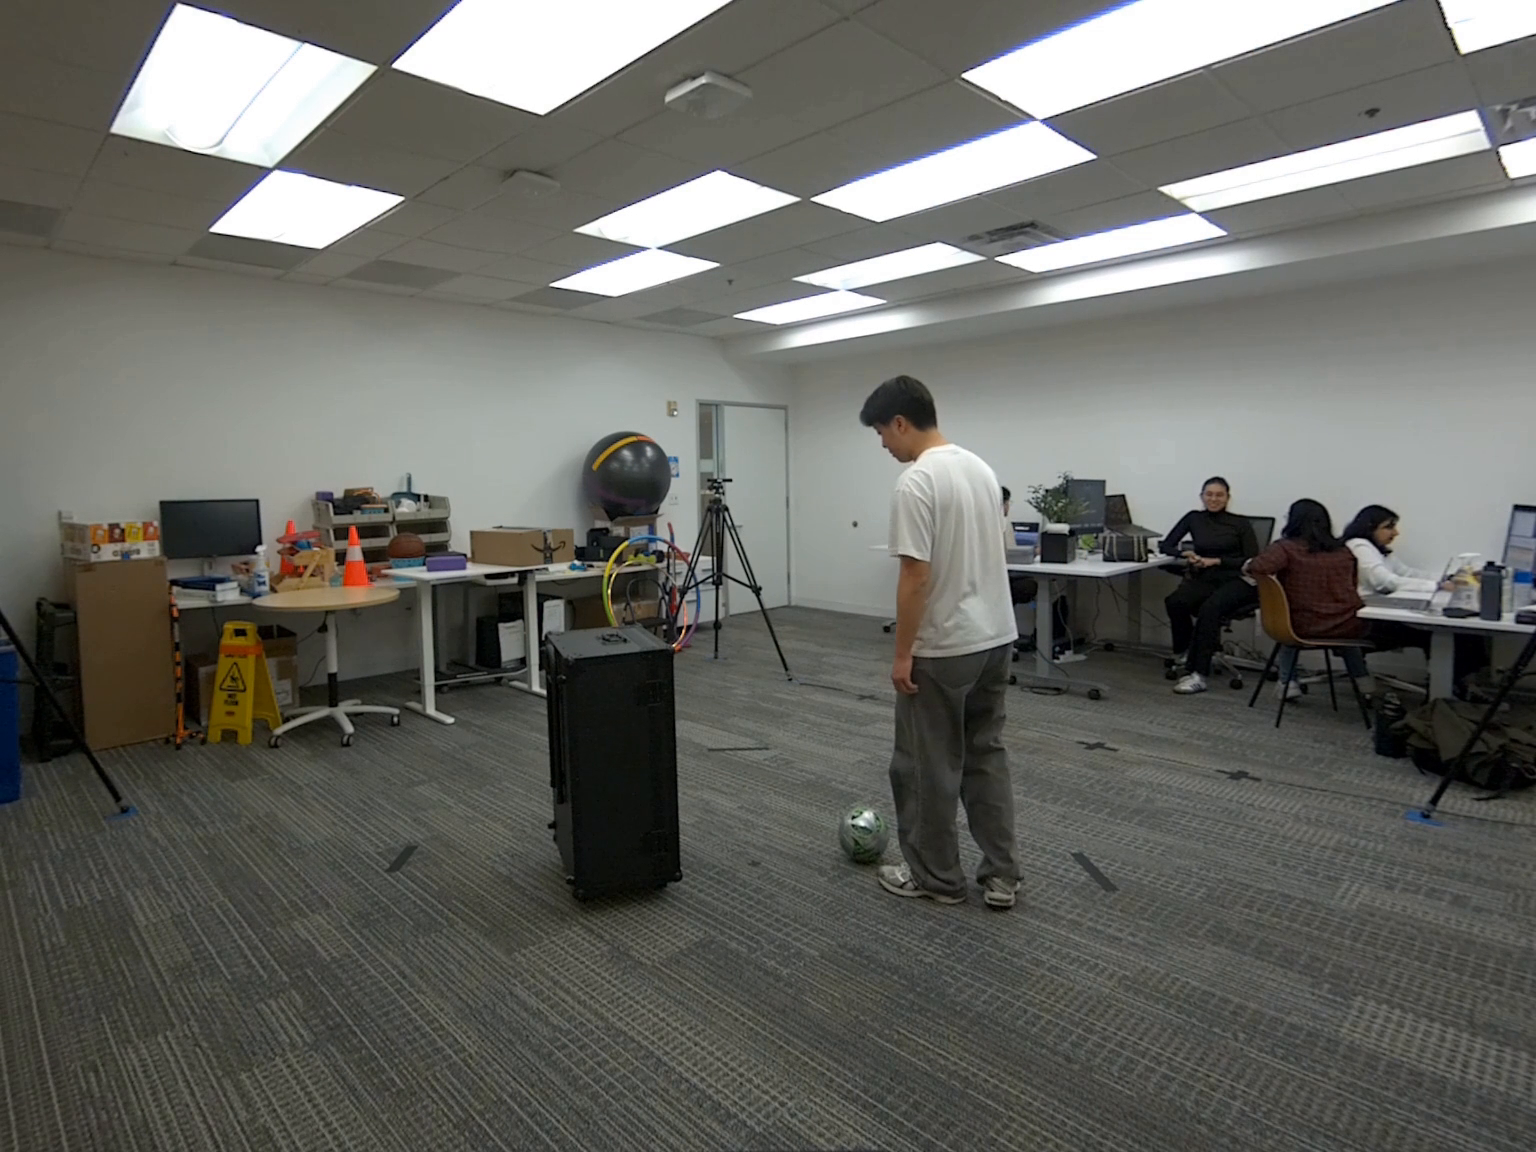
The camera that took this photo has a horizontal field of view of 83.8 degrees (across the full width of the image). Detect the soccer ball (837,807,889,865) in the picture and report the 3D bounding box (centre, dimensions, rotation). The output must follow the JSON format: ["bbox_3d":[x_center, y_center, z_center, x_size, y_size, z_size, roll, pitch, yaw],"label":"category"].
[{"bbox_3d":[0.348,0.941,3.120,0.187,0.187,0.188,-1,5,-2],"label":"soccer ball"}]
